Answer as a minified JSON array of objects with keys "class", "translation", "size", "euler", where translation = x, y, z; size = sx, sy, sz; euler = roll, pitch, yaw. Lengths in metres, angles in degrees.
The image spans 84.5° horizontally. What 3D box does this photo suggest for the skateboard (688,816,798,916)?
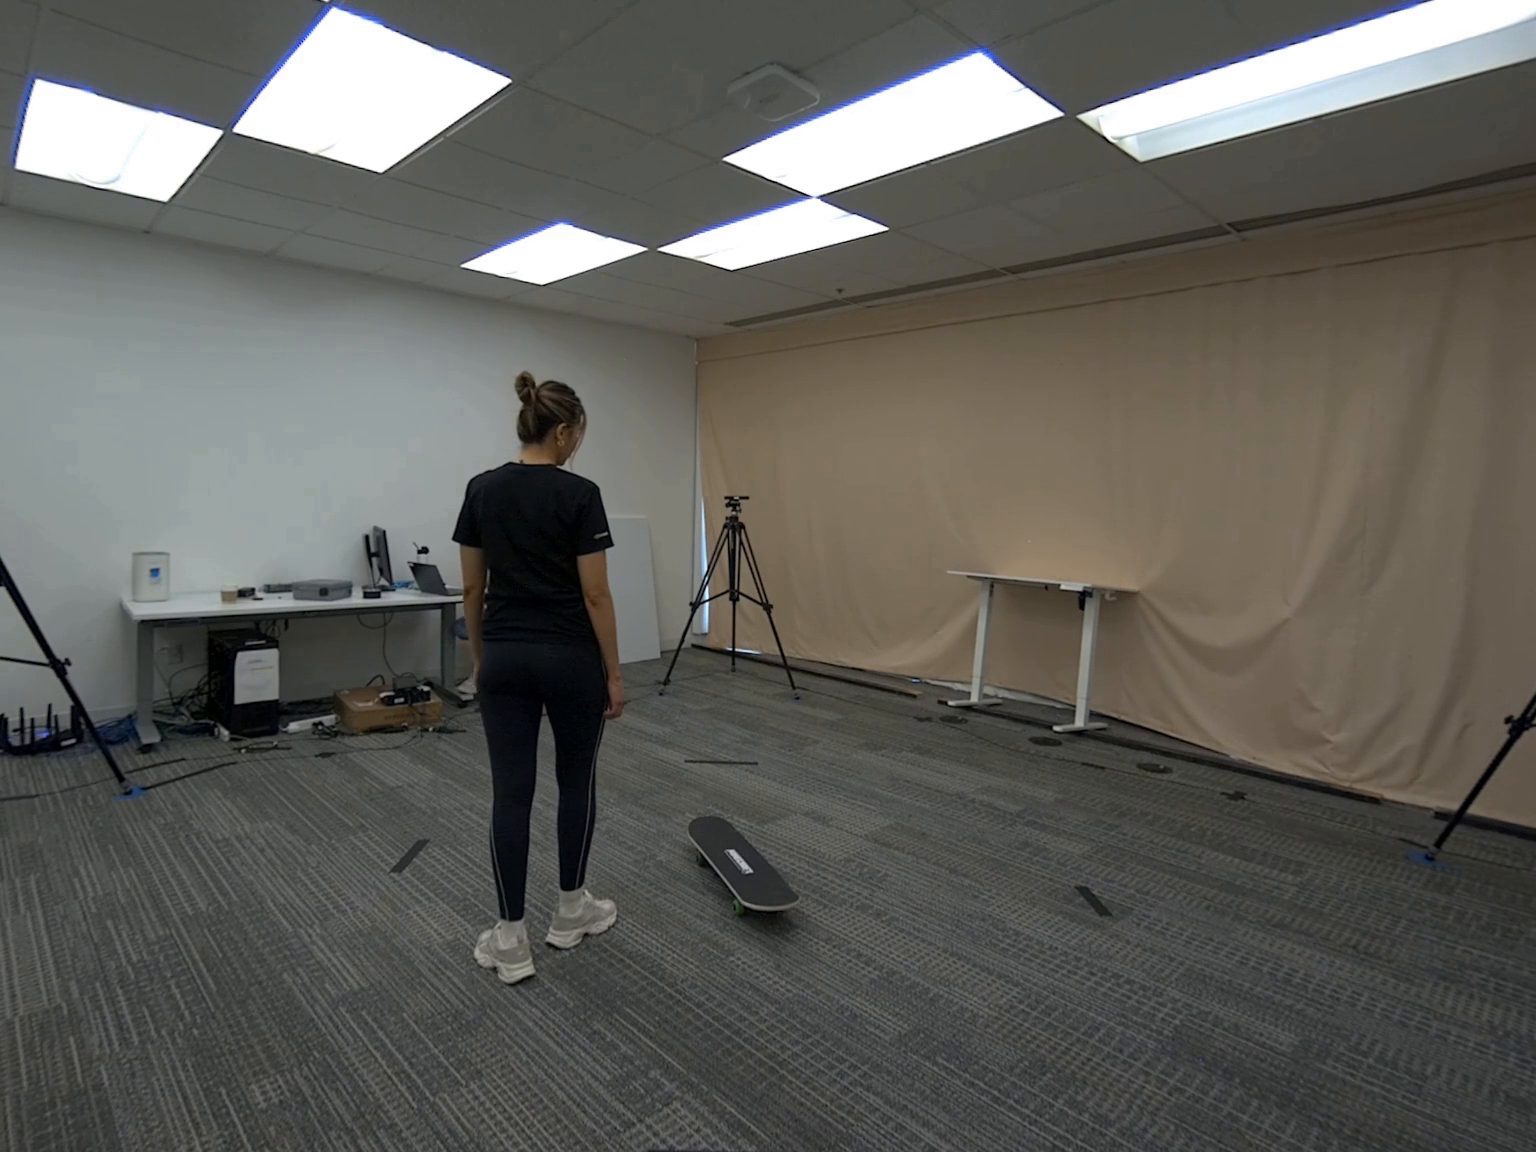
[{"class":"skateboard","translation":[-0.113,1.053,3.019],"size":[0.190,0.110,0.800],"euler":[-2,6,-22]}]
